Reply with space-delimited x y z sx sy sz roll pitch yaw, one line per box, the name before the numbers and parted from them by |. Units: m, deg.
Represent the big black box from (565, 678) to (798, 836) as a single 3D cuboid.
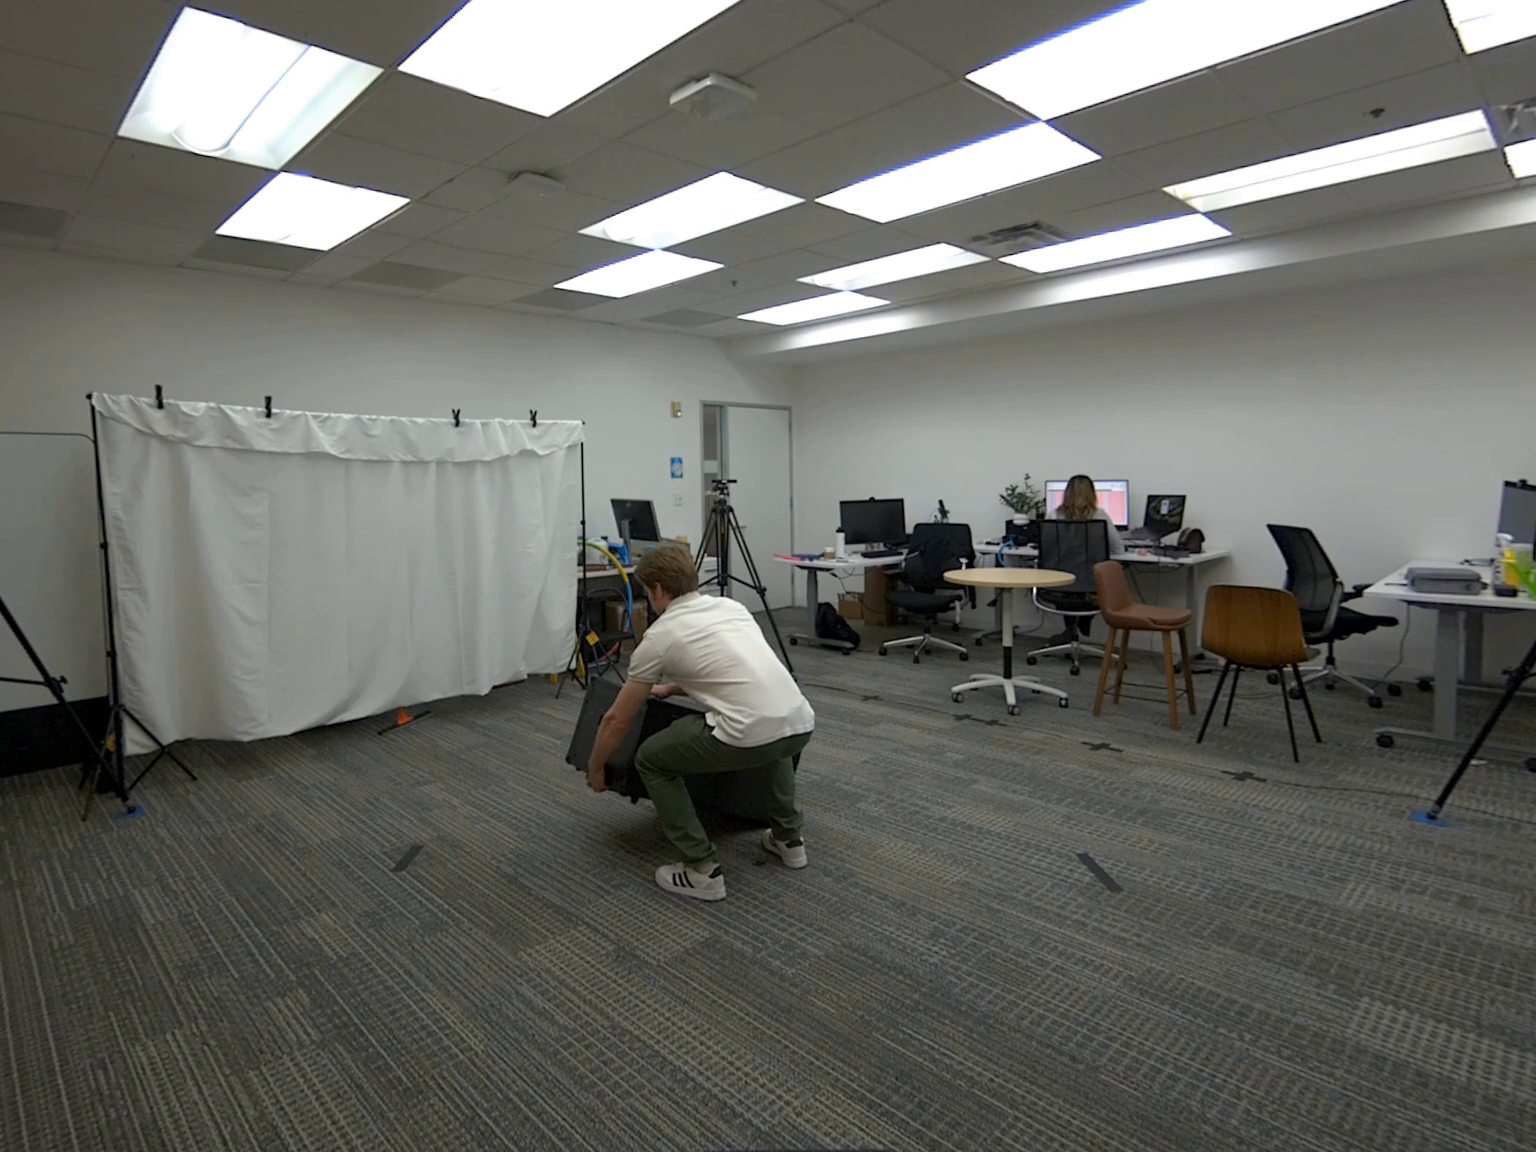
big black box | -0.303 0.716 3.486 0.839 0.387 0.538 21 -11 -34
